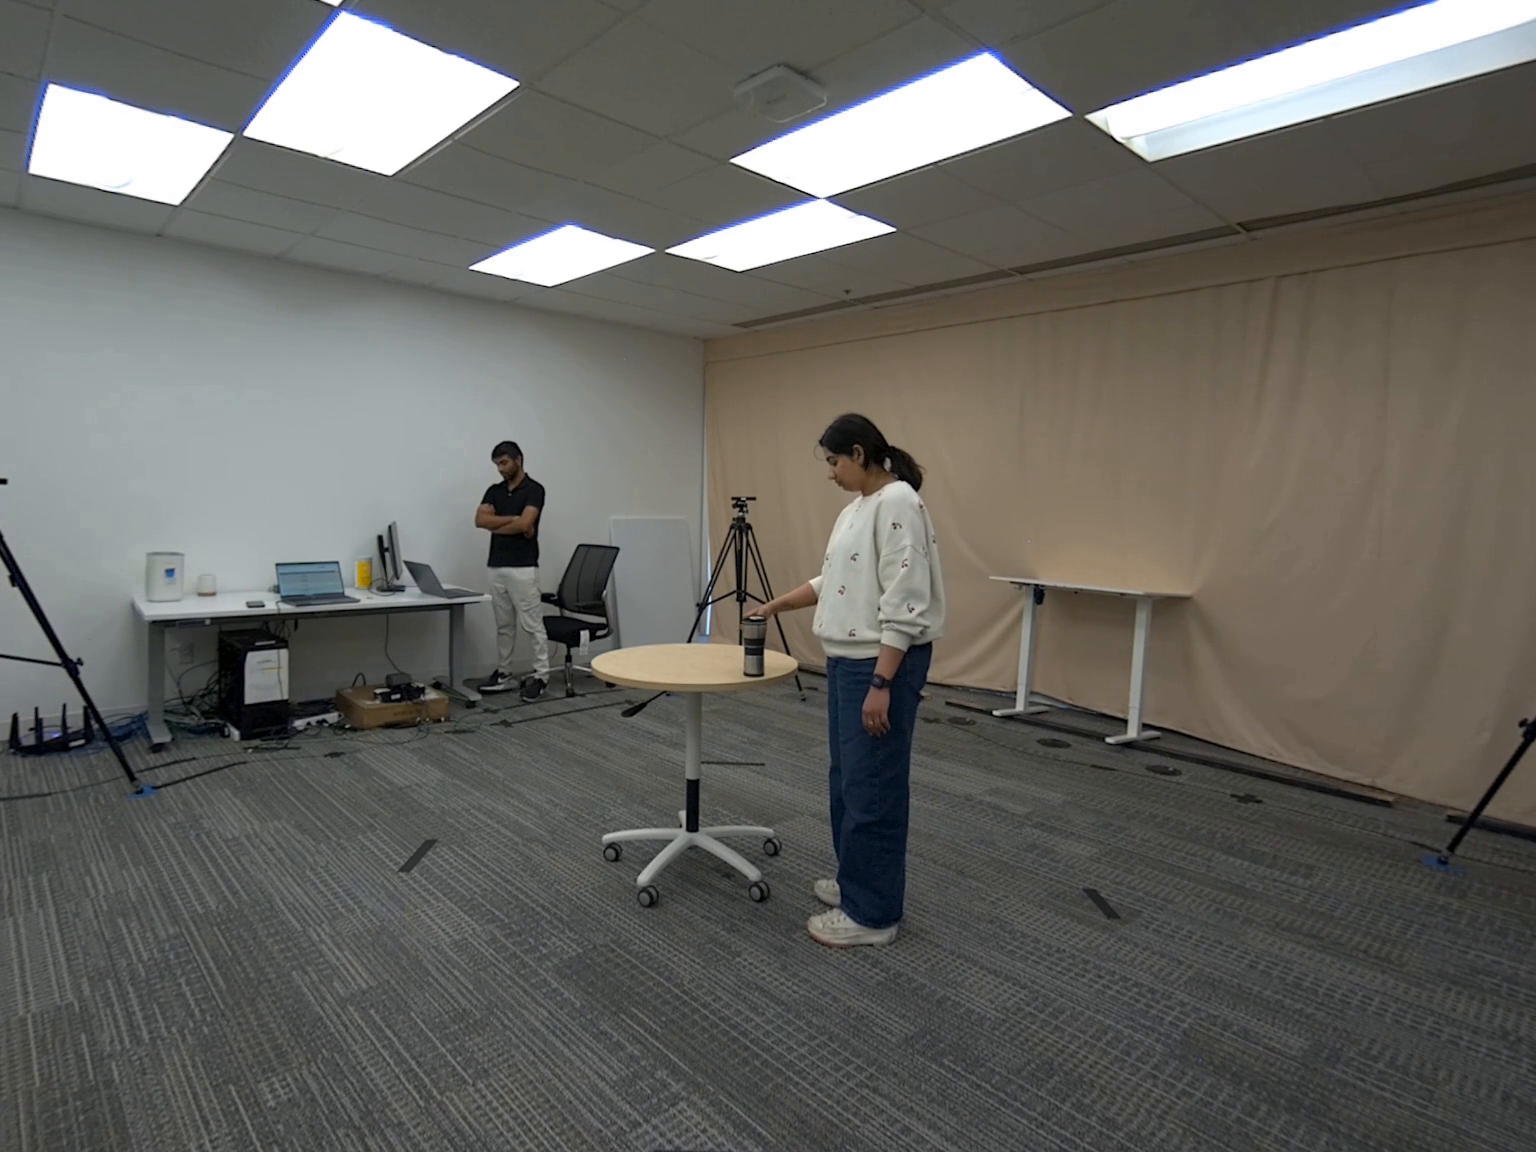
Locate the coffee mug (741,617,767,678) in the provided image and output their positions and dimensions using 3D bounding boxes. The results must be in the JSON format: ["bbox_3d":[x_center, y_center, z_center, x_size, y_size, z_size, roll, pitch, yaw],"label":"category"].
[{"bbox_3d":[-0.037,0.243,2.917,0.090,0.202,0.120,-1,4,31],"label":"coffee mug"}]
